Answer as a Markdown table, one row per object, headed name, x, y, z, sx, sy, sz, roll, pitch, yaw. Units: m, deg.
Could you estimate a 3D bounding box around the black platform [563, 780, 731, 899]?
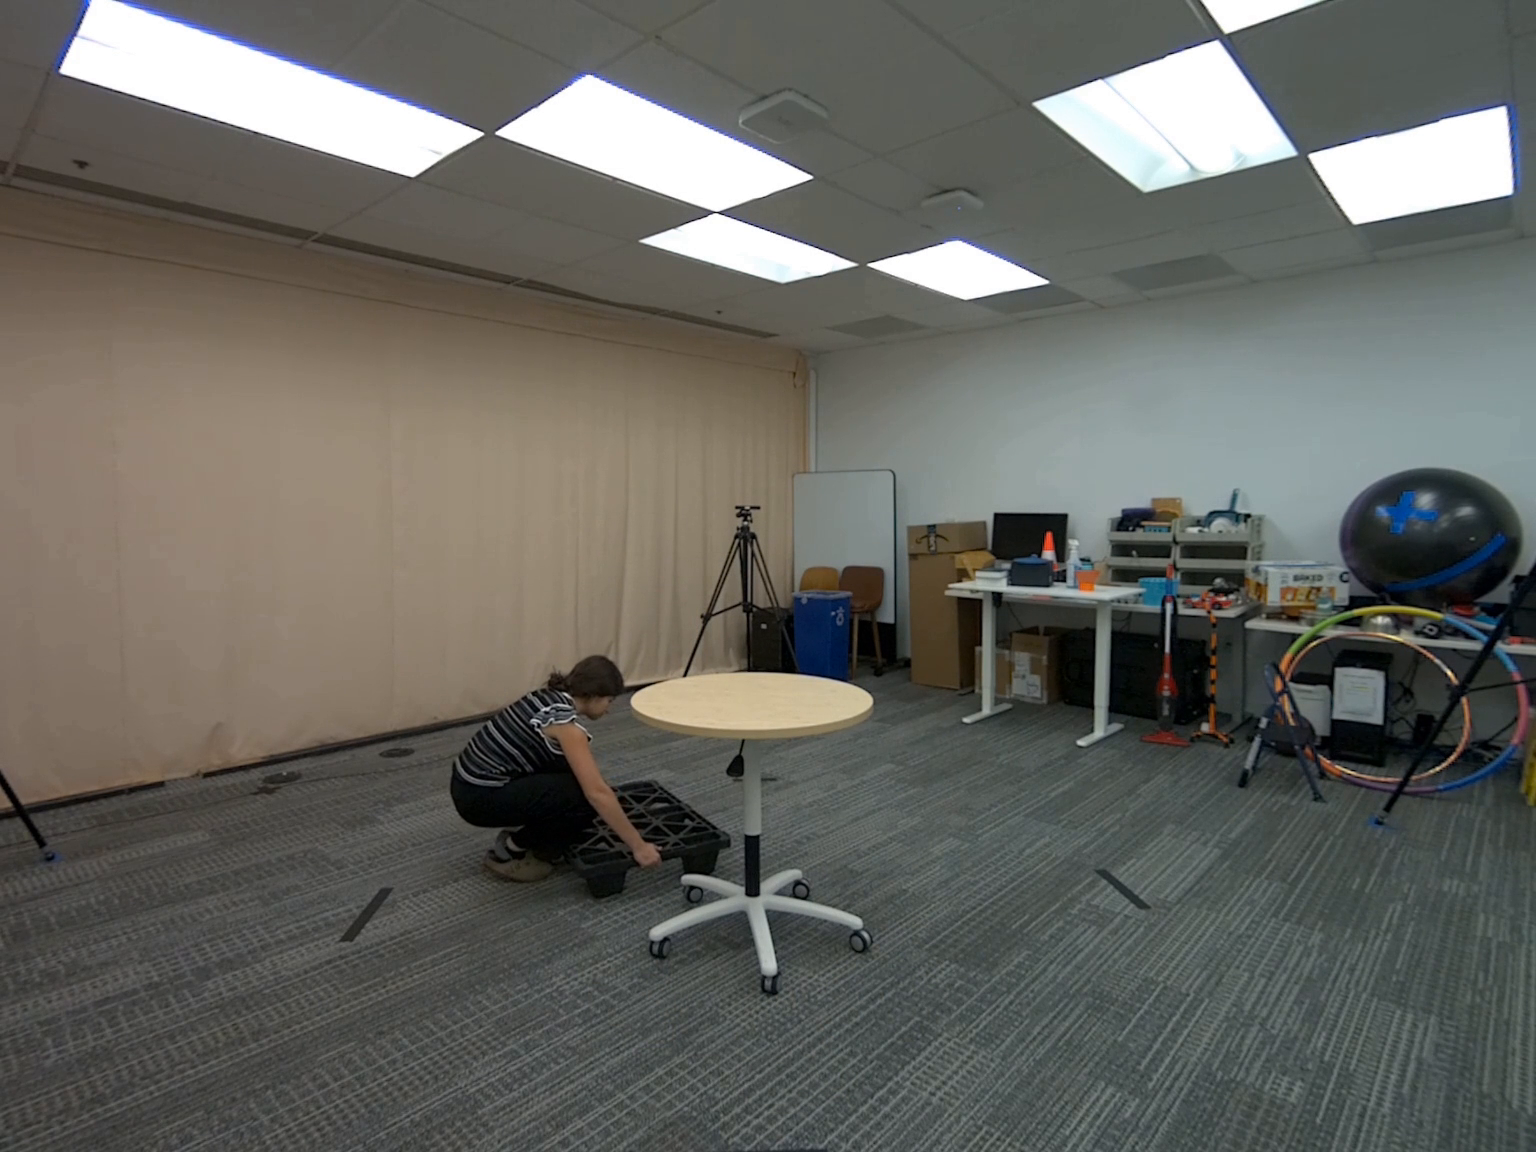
| name | x | y | z | sx | sy | sz | roll | pitch | yaw |
| --- | --- | --- | --- | --- | --- | --- | --- | --- | --- |
| black platform | -0.589 | 1.046 | 3.412 | 0.590 | 0.143 | 0.828 | -2 | 5 | -28 |
